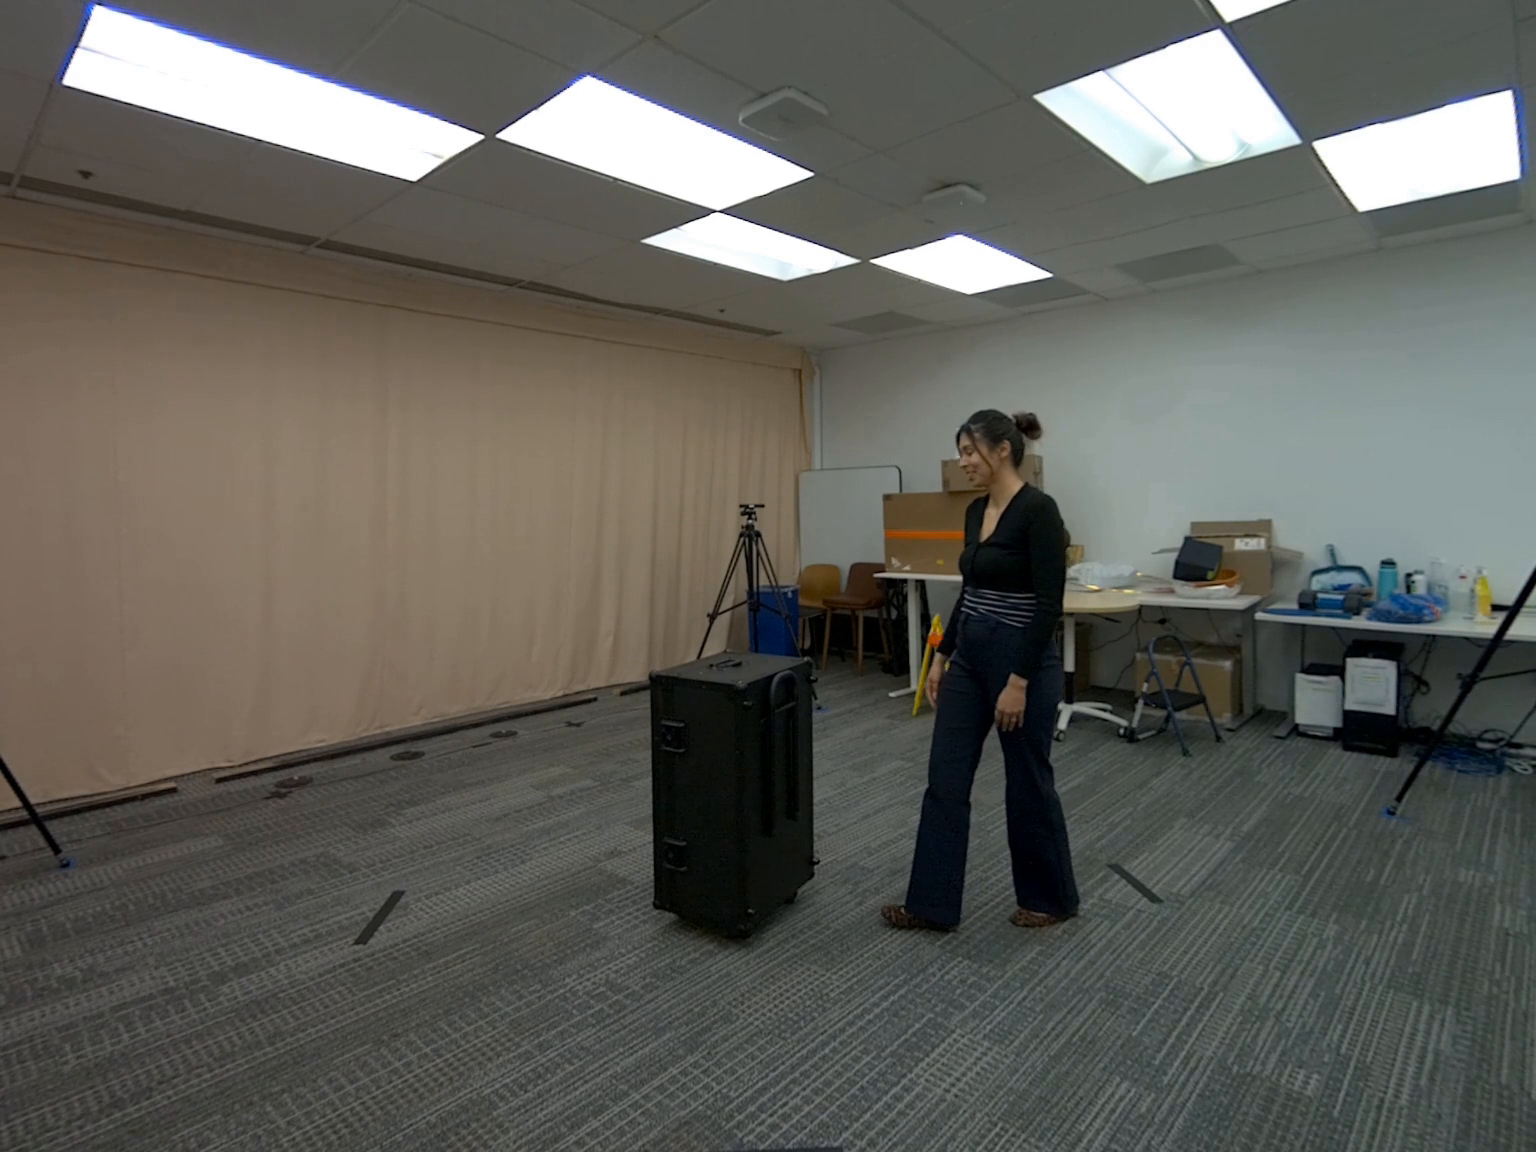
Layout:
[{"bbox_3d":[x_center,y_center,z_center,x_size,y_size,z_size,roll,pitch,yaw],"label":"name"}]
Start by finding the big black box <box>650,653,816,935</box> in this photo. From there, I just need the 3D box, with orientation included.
[{"bbox_3d":[-0.096,0.731,2.861,0.408,0.859,0.507,3,5,31],"label":"big black box"}]
